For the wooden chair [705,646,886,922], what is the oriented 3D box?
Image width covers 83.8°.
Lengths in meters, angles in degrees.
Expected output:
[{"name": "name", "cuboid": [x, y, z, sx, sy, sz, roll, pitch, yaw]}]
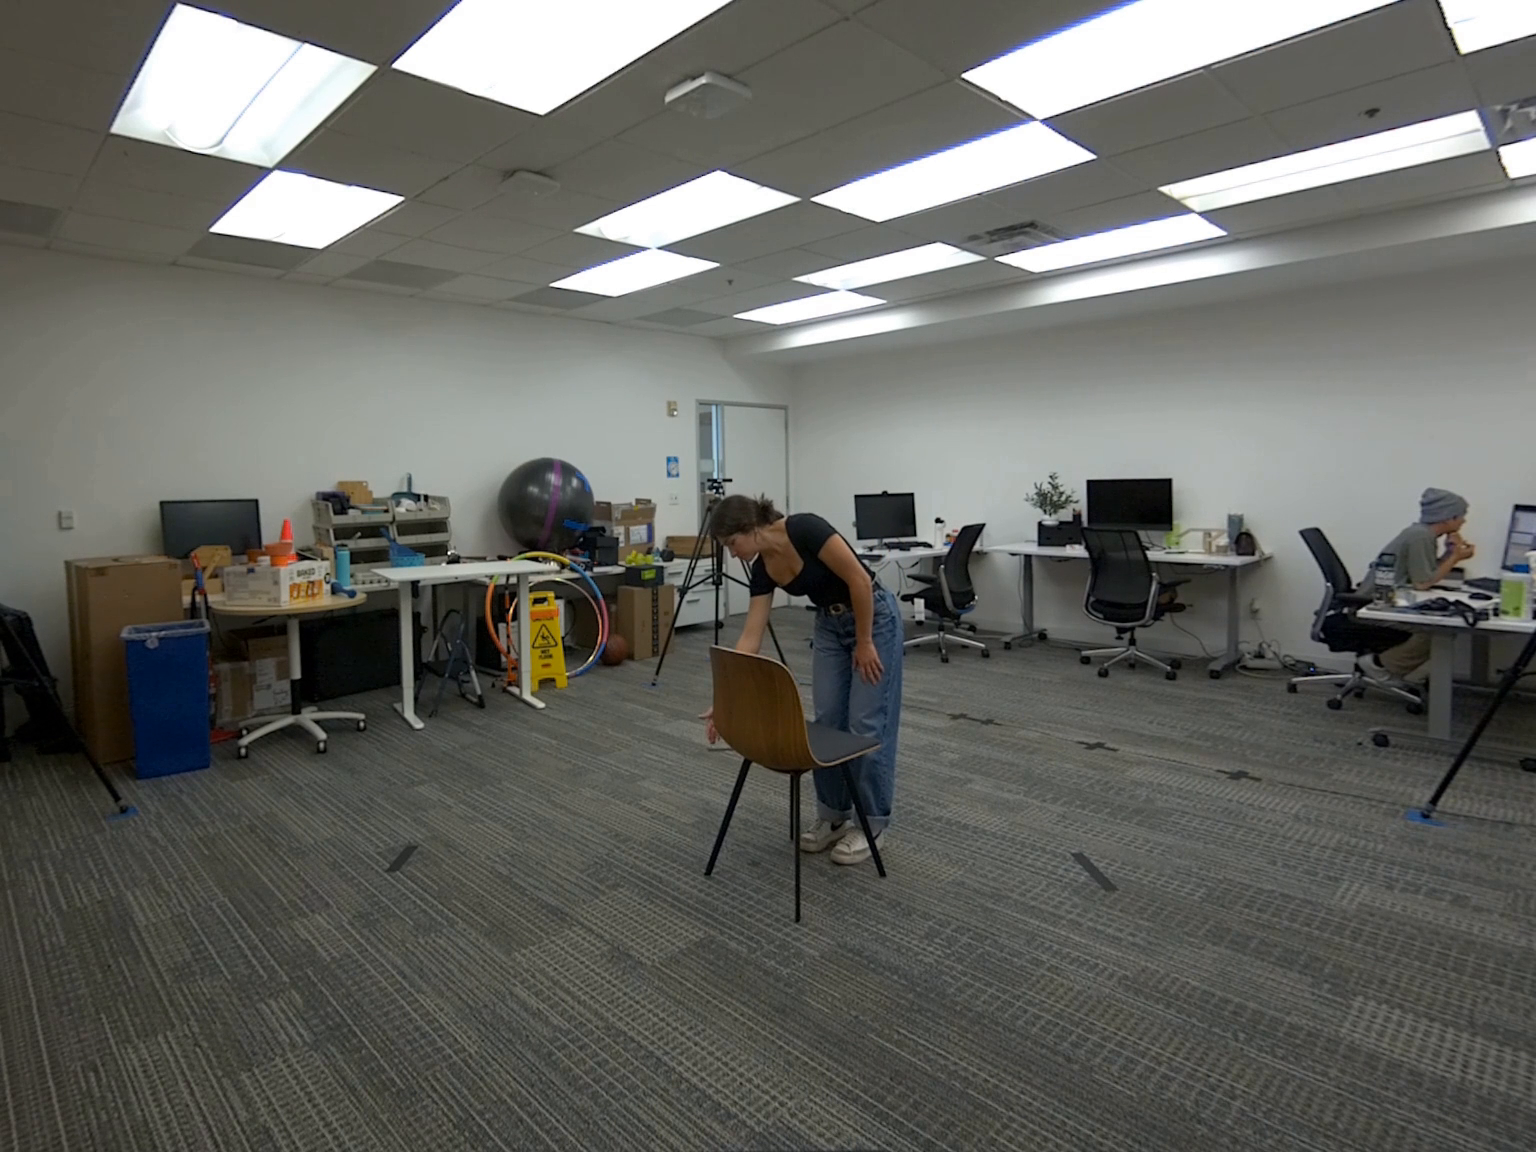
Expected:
[{"name": "wooden chair", "cuboid": [0.095, 0.633, 2.970, 0.511, 0.872, 0.493, -10, 9, -43]}]
